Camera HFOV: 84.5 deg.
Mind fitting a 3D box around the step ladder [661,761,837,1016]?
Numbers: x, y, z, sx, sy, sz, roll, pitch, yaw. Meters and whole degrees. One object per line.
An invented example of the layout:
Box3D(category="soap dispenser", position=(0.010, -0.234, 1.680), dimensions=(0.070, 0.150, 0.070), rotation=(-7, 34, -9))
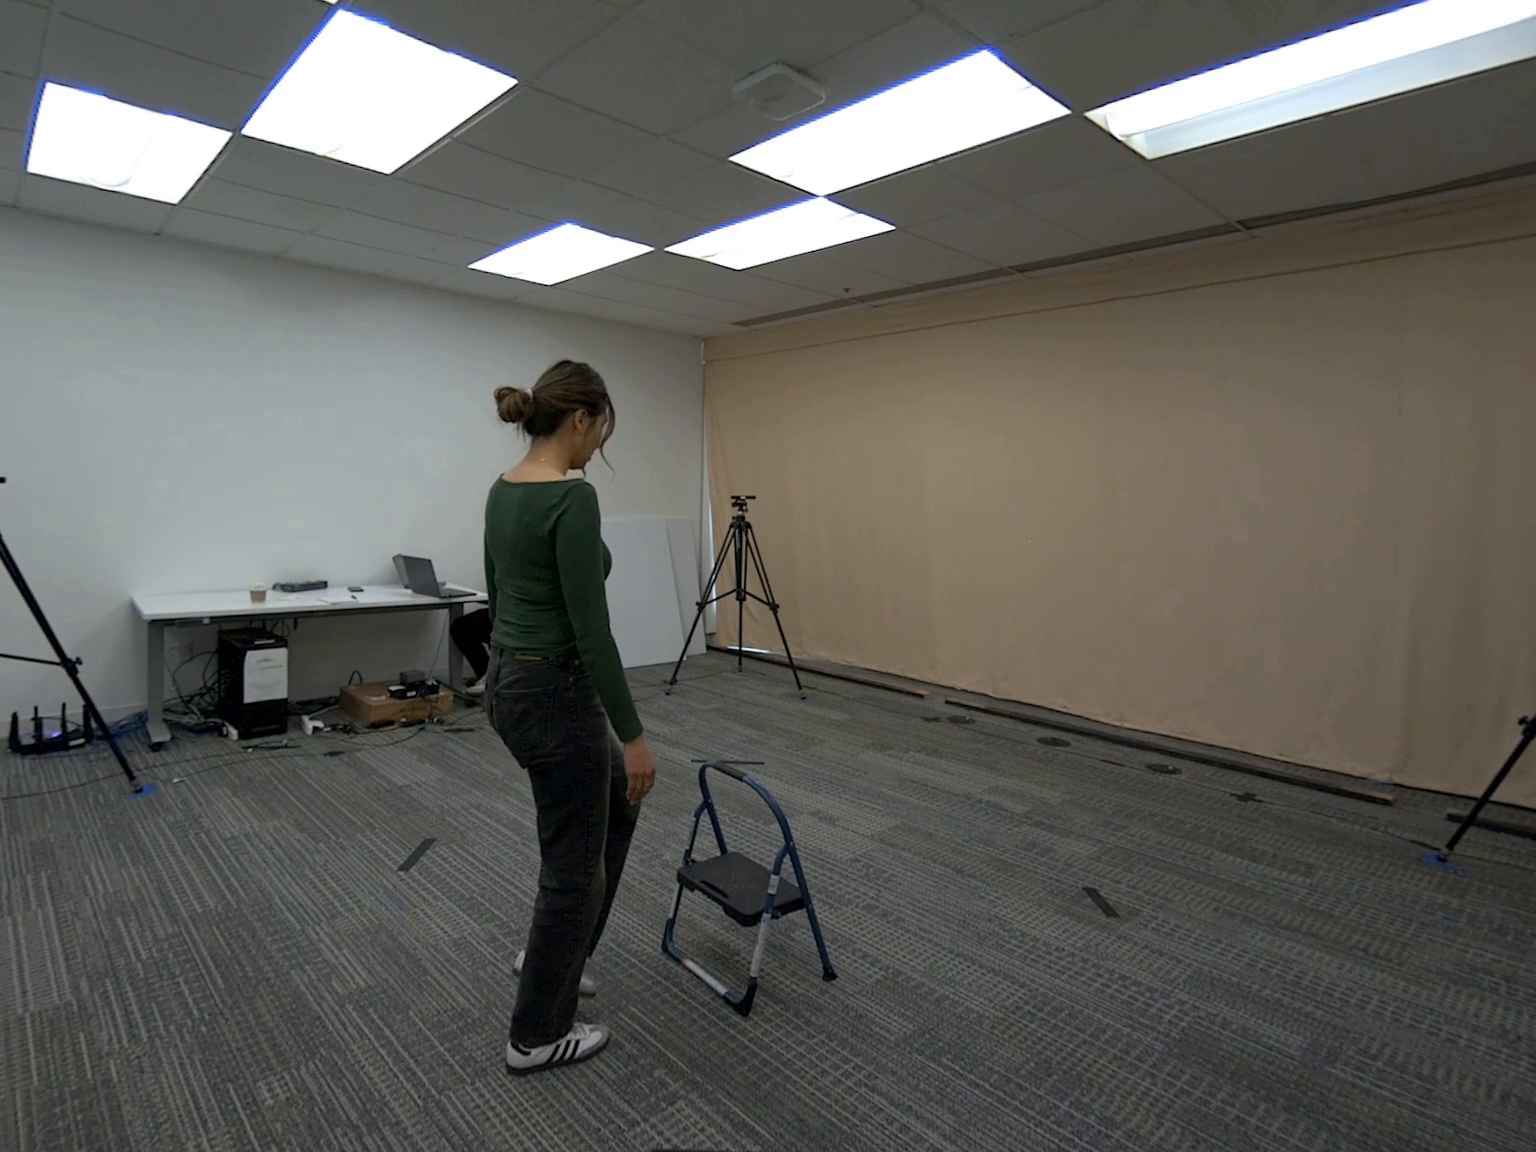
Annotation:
Box3D(category="step ladder", position=(-0.063, 0.857, 2.495), dimensions=(0.341, 0.604, 0.441), rotation=(-2, 5, -40))
